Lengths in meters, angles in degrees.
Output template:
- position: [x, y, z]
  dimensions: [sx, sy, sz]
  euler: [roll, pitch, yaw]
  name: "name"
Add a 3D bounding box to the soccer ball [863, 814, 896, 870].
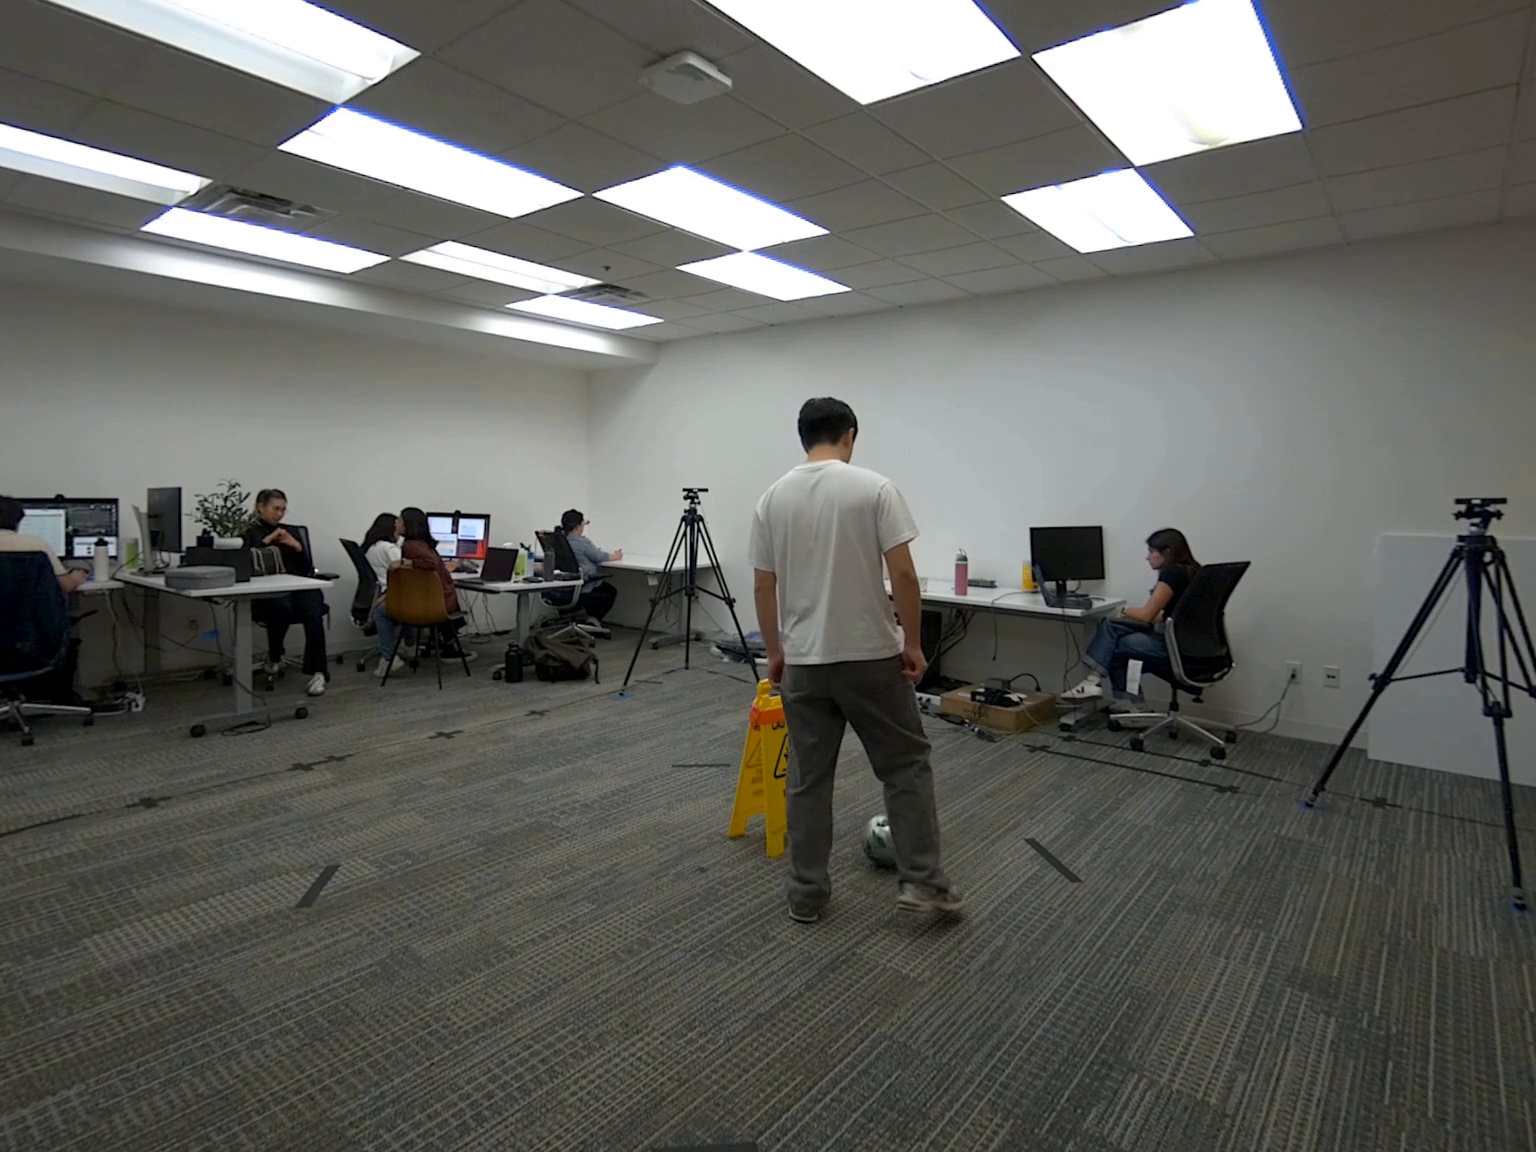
- position: [0.445, 0.975, 3.178]
  dimensions: [0.187, 0.187, 0.188]
  euler: [1, 4, -2]
  name: "soccer ball"
